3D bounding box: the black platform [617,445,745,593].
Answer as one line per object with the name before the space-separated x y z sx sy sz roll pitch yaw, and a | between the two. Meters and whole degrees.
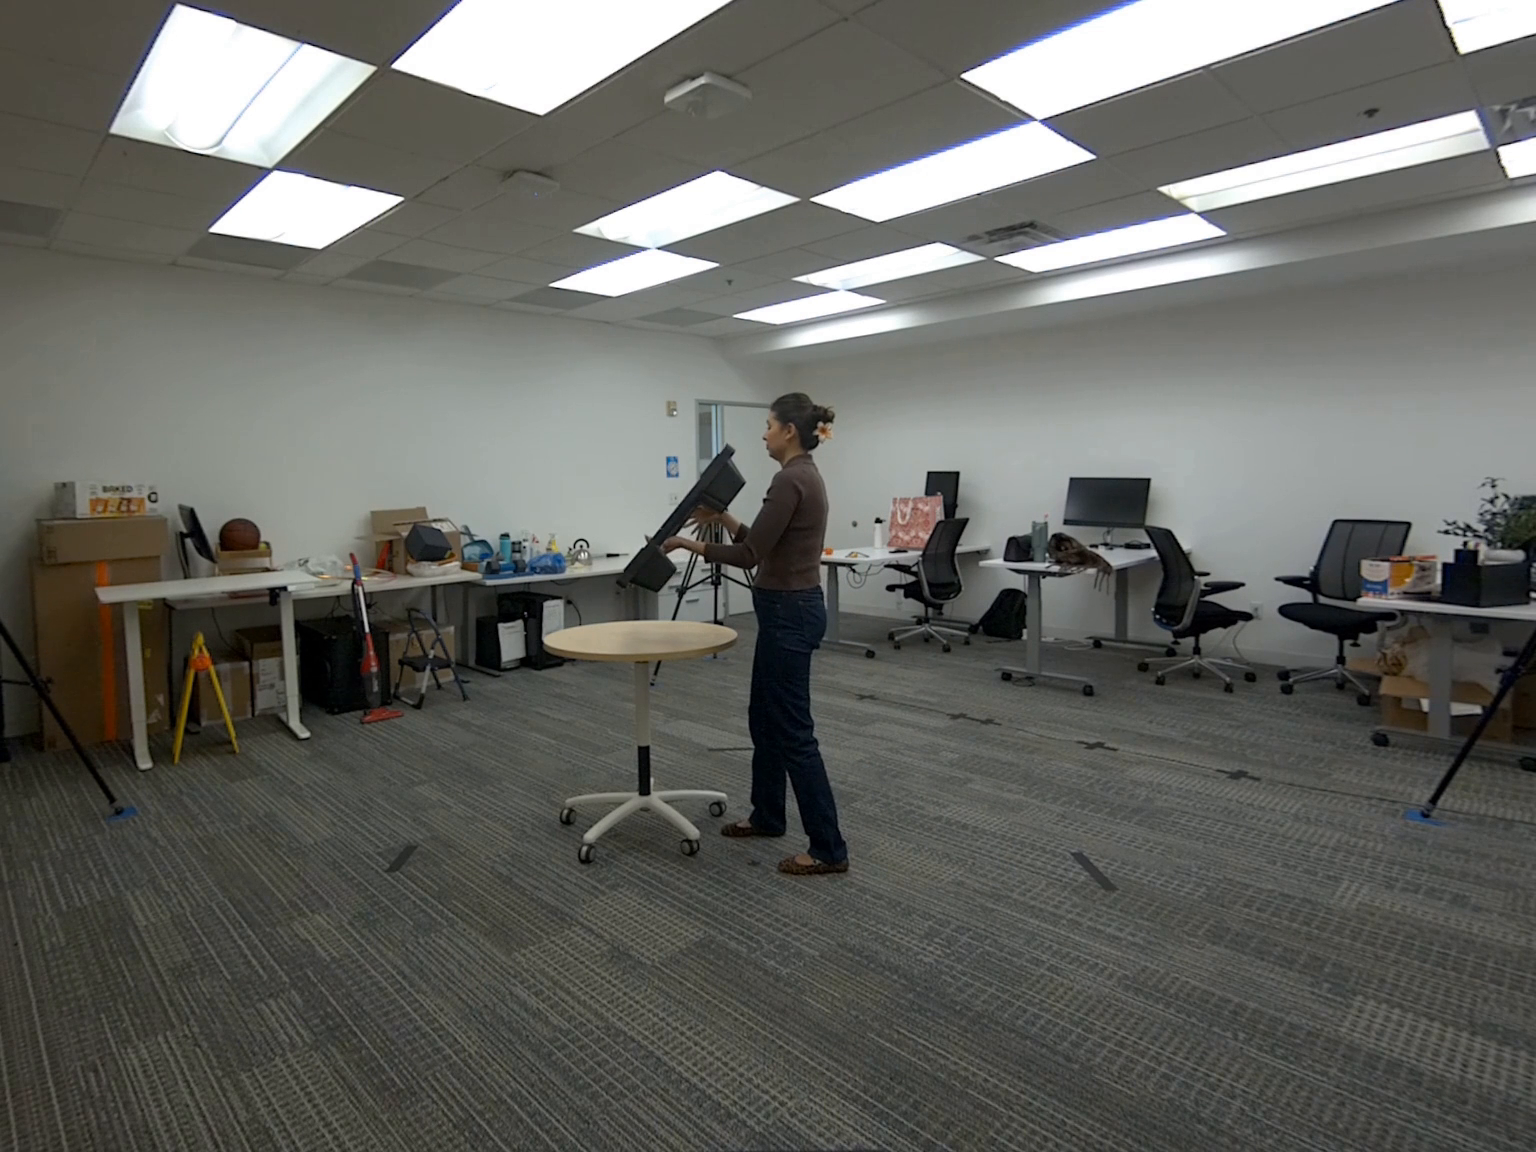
black platform | -0.305 -0.167 3.198 0.143 0.605 0.808 37 -3 -5
